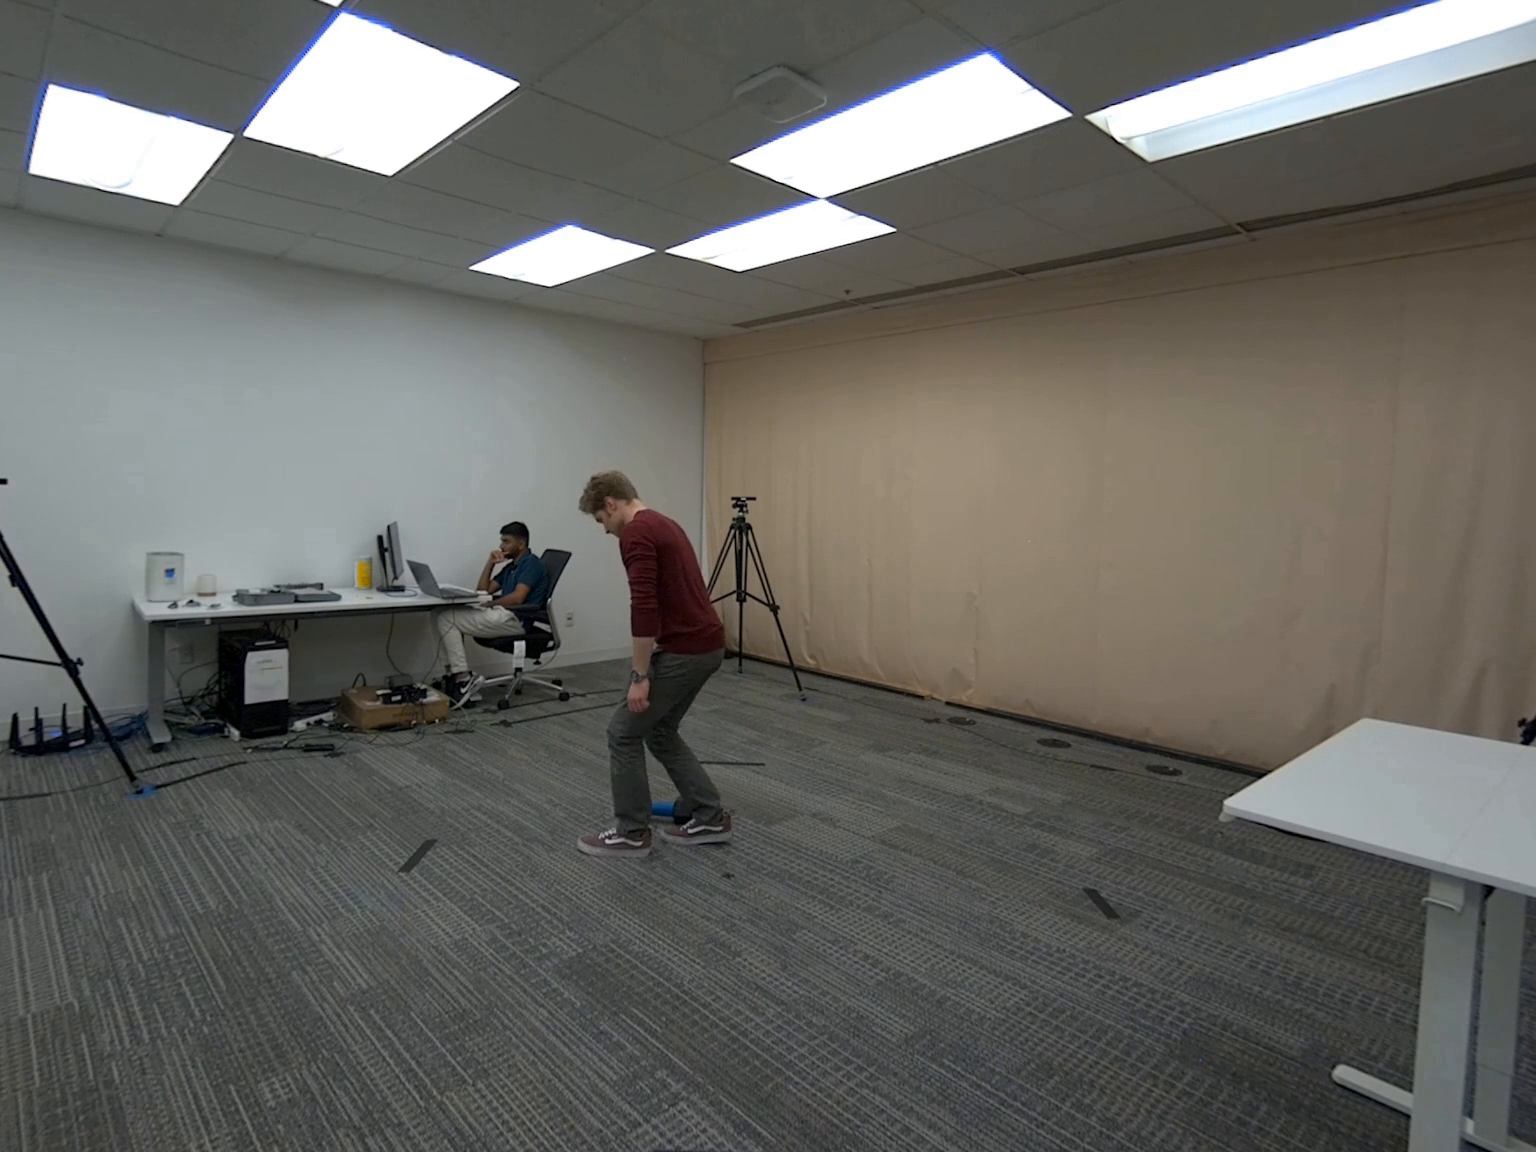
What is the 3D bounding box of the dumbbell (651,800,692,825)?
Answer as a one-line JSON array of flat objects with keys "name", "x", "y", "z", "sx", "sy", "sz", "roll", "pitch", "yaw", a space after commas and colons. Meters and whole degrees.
[{"name": "dumbbell", "x": -0.470, "y": 1.004, "z": 3.610, "sx": 0.295, "sy": 0.120, "sz": 0.110, "roll": 2, "pitch": 34, "yaw": 7}]
